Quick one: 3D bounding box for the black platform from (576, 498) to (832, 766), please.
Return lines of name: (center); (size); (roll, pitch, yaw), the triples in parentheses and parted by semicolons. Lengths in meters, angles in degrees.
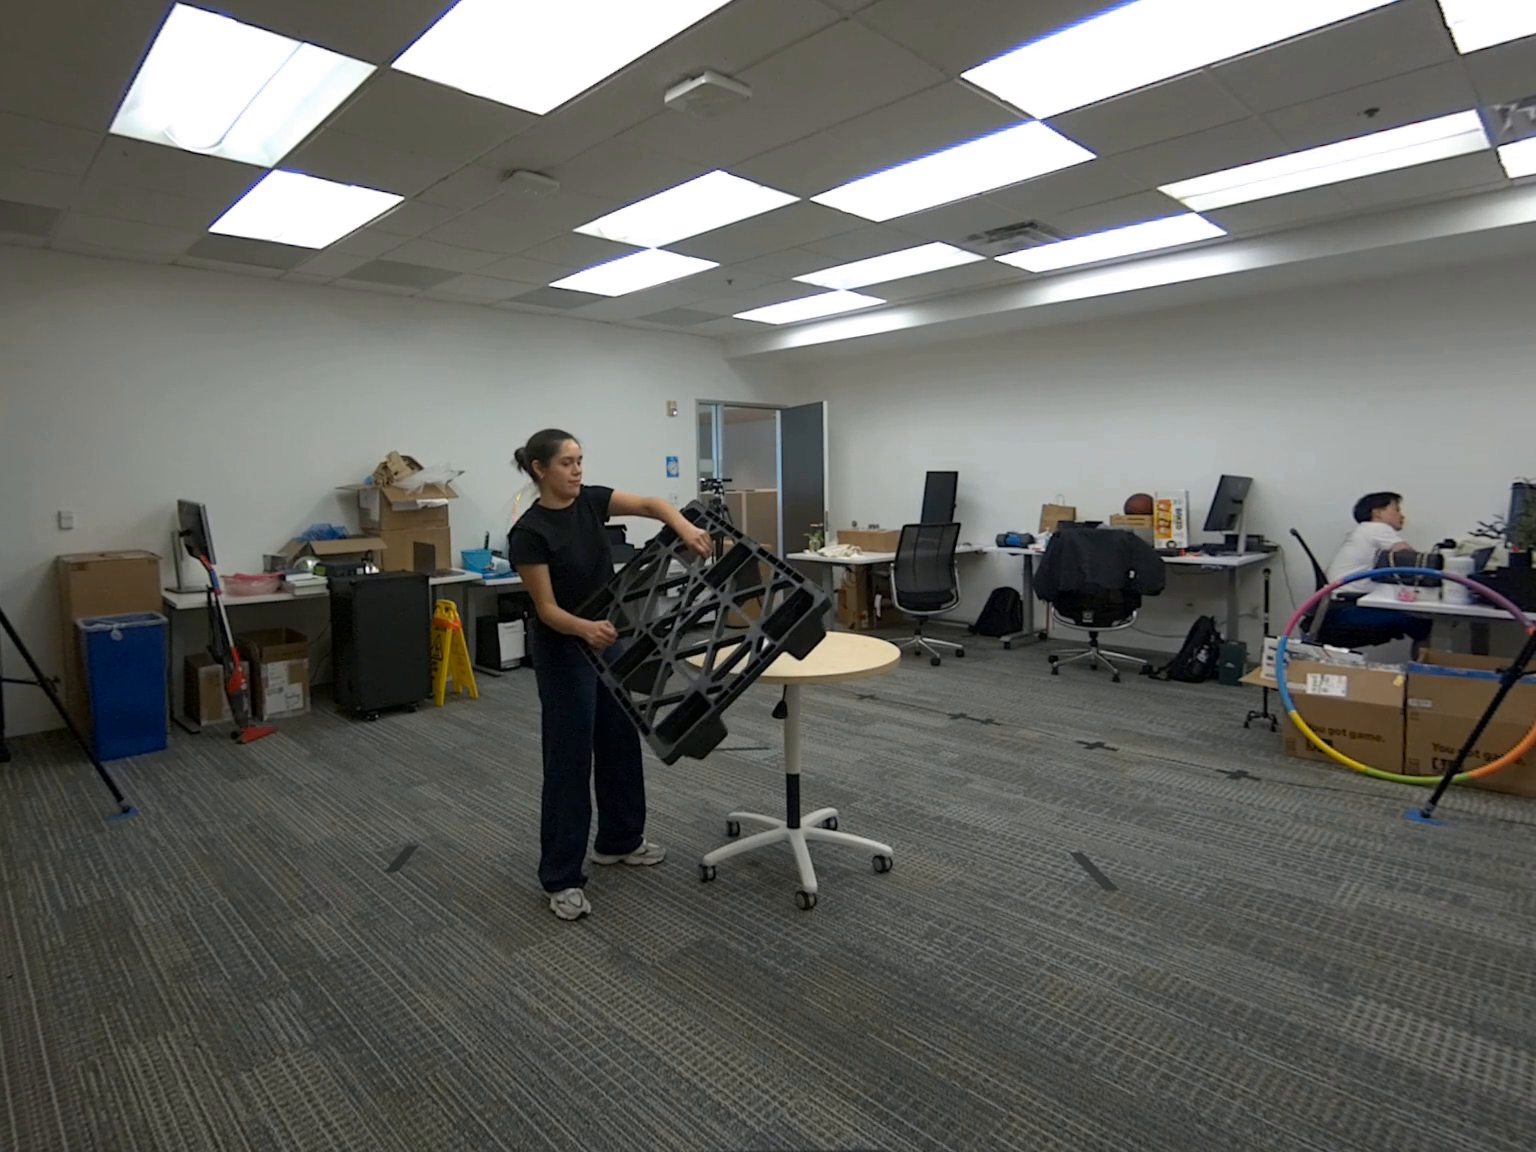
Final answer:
black platform: (-0.218, 0.134, 2.526); (0.837, 0.605, 0.138); (36, -12, 51)
